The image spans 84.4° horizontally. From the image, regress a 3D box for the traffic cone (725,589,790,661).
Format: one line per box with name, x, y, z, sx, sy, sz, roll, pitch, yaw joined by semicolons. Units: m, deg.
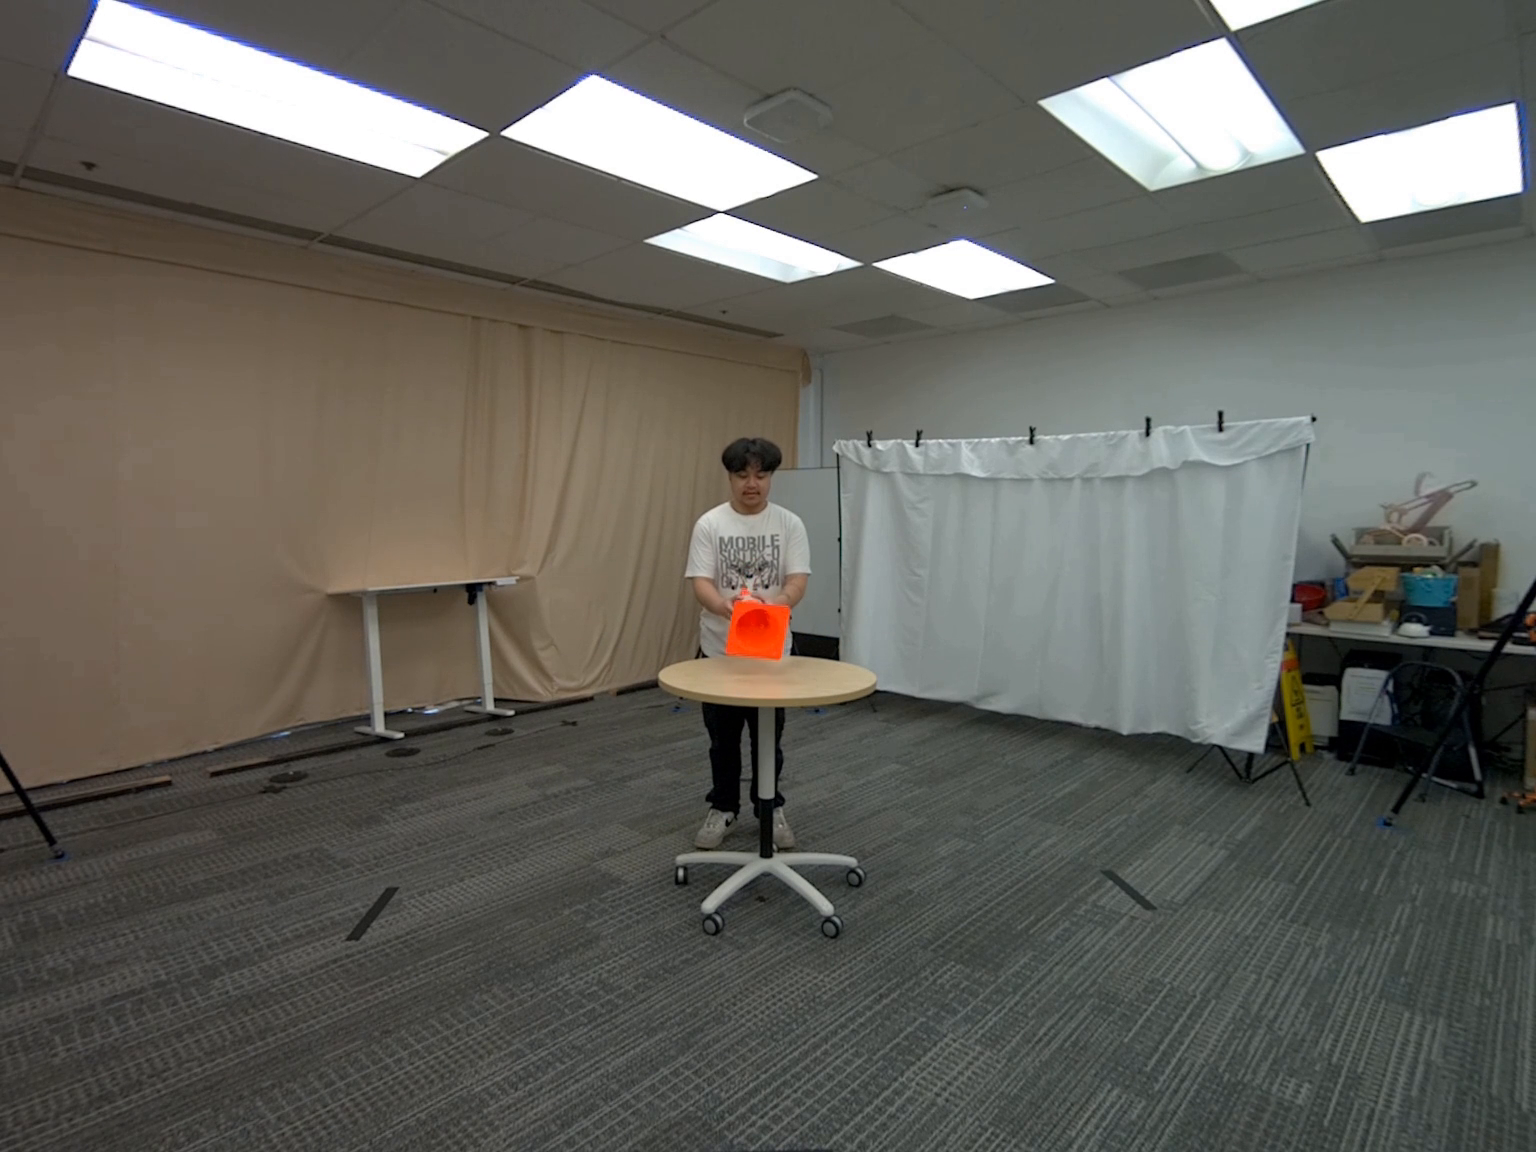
traffic cone;-0.038;0.145;3.071;0.206;0.202;0.385;4;14;3
